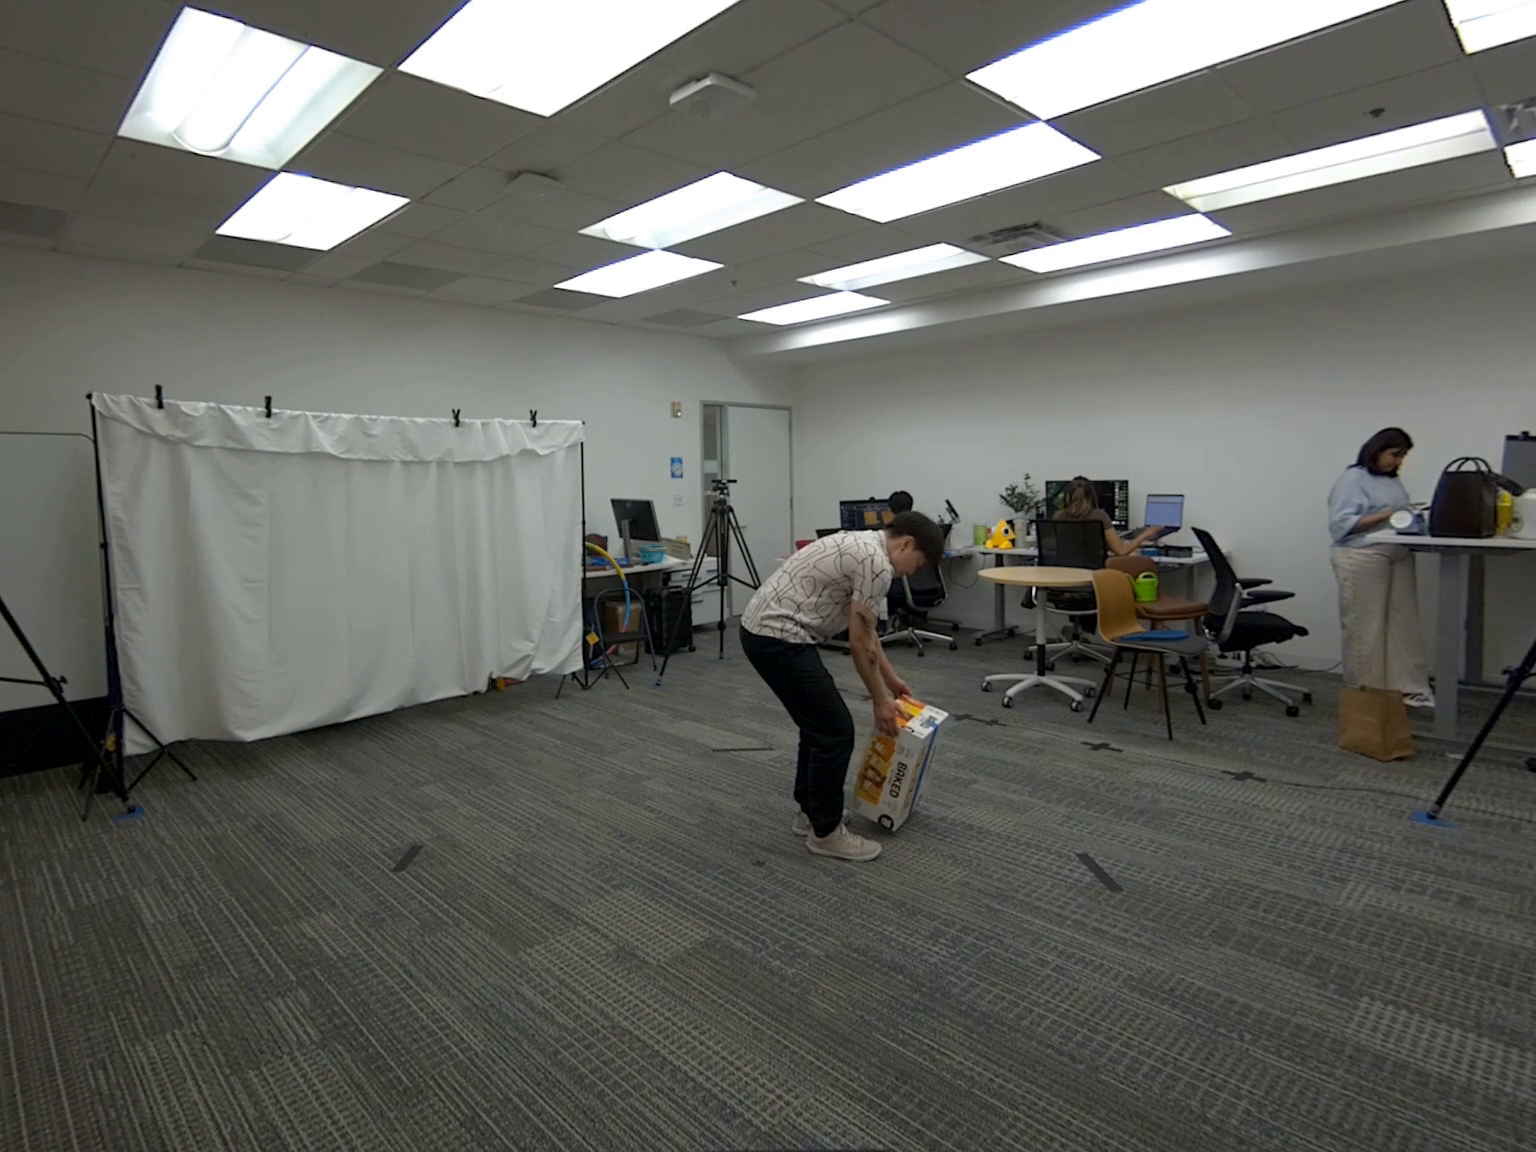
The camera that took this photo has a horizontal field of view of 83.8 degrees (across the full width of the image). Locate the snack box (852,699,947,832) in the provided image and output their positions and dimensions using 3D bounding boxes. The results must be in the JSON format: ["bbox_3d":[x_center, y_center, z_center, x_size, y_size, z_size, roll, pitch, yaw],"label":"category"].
[{"bbox_3d":[0.533,0.733,3.428,0.211,0.401,0.334,18,15,24],"label":"snack box"}]
